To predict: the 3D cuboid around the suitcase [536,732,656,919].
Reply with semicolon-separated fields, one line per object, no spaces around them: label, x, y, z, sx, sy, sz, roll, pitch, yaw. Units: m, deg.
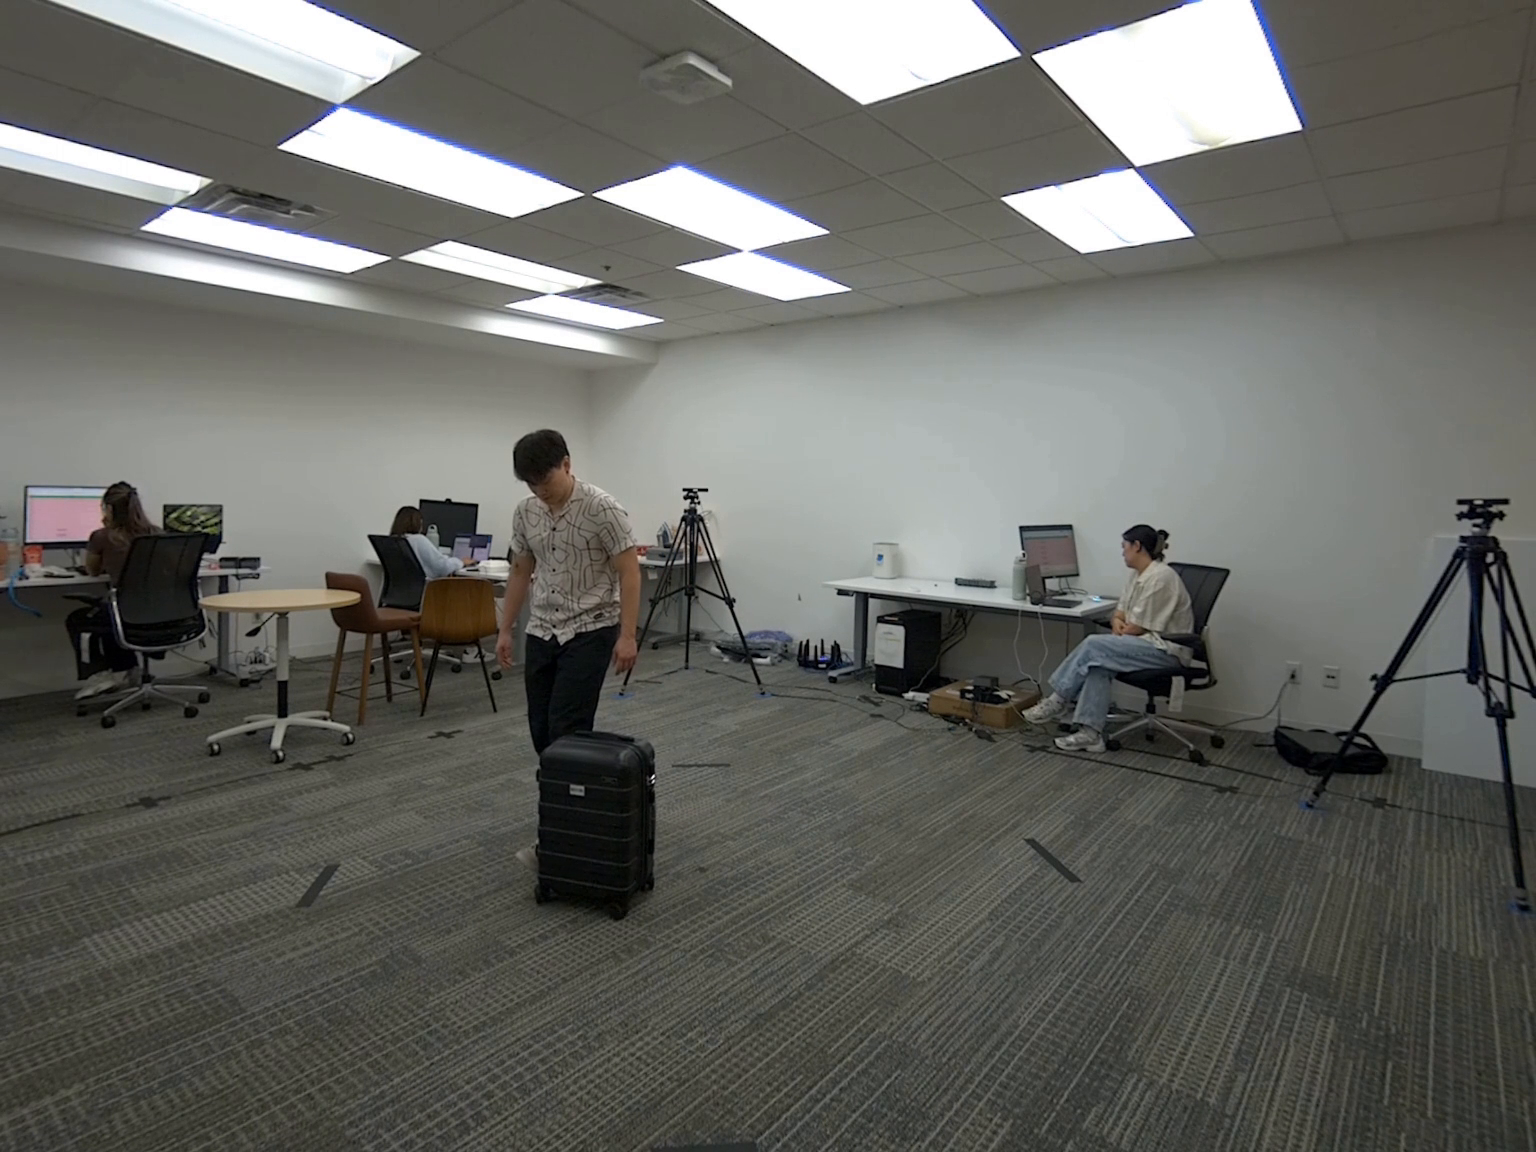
suitcase;-0.583;0.813;2.862;0.383;0.547;0.244;3;5;17
